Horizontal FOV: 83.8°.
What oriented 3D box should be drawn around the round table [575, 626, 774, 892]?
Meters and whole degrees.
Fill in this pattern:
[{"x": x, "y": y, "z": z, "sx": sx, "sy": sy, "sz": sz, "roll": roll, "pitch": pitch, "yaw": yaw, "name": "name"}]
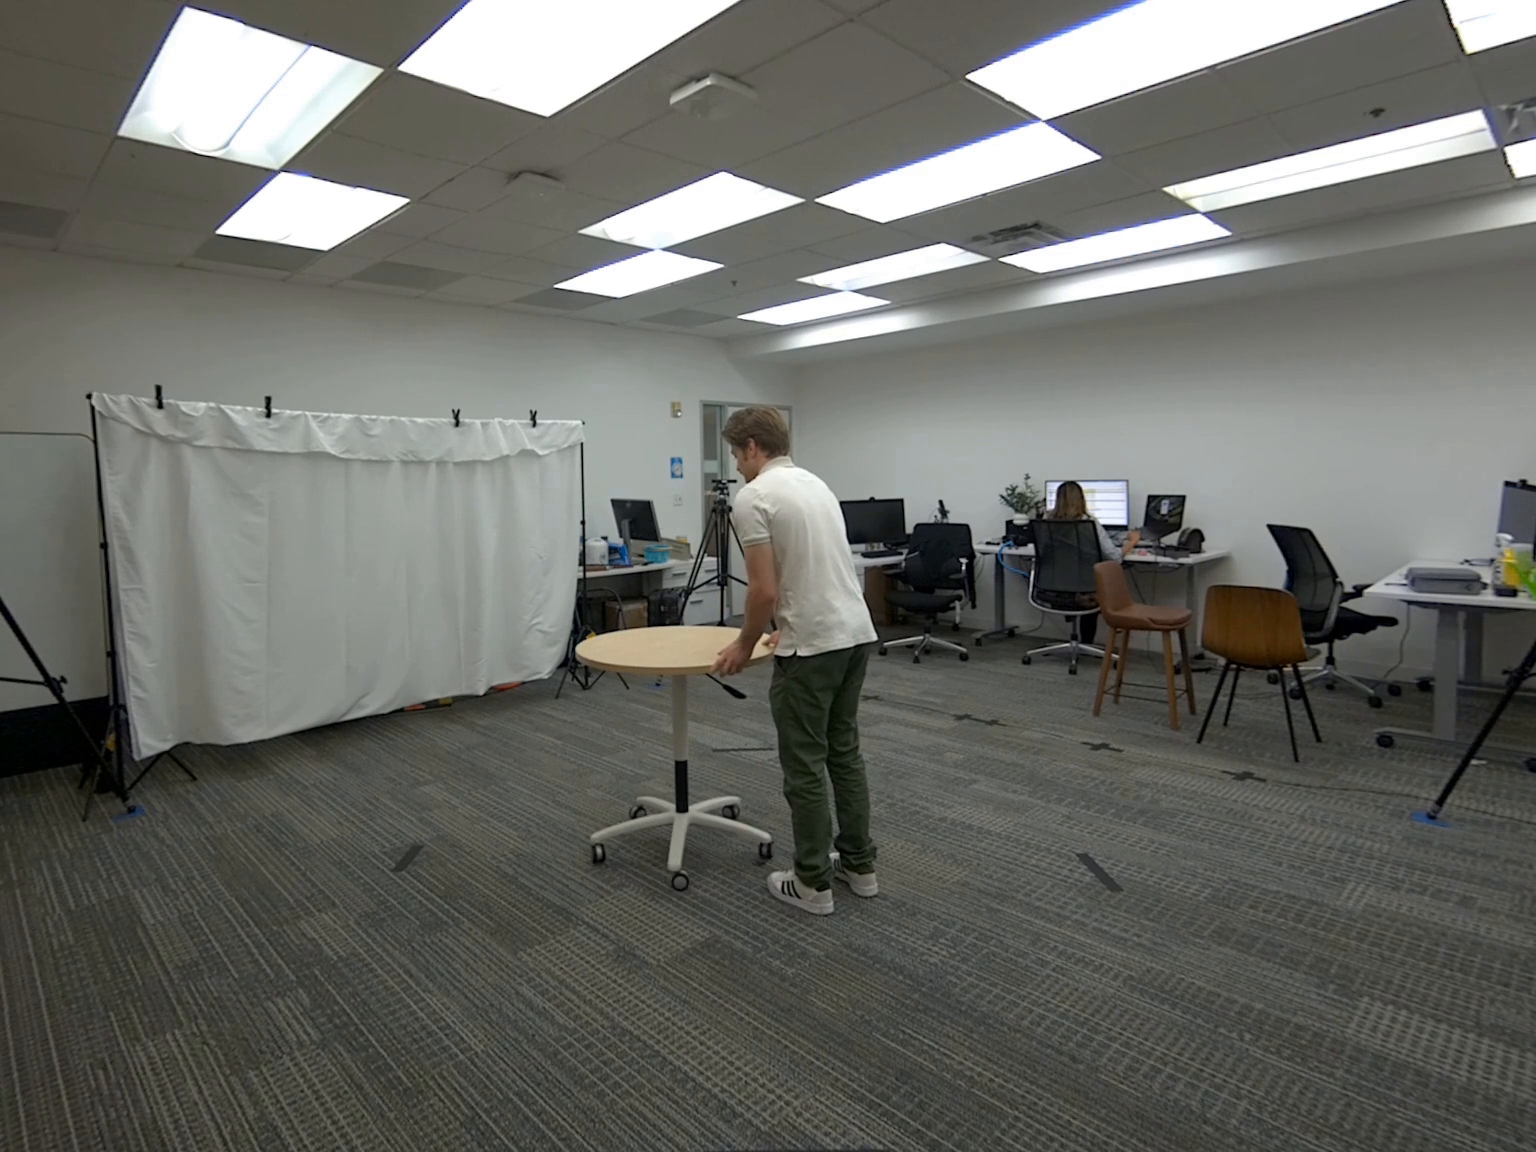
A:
[{"x": -0.332, "y": 0.647, "z": 3.246, "sx": 0.763, "sy": 0.791, "sz": 0.768, "roll": -1, "pitch": 5, "yaw": -2, "name": "round table"}]
